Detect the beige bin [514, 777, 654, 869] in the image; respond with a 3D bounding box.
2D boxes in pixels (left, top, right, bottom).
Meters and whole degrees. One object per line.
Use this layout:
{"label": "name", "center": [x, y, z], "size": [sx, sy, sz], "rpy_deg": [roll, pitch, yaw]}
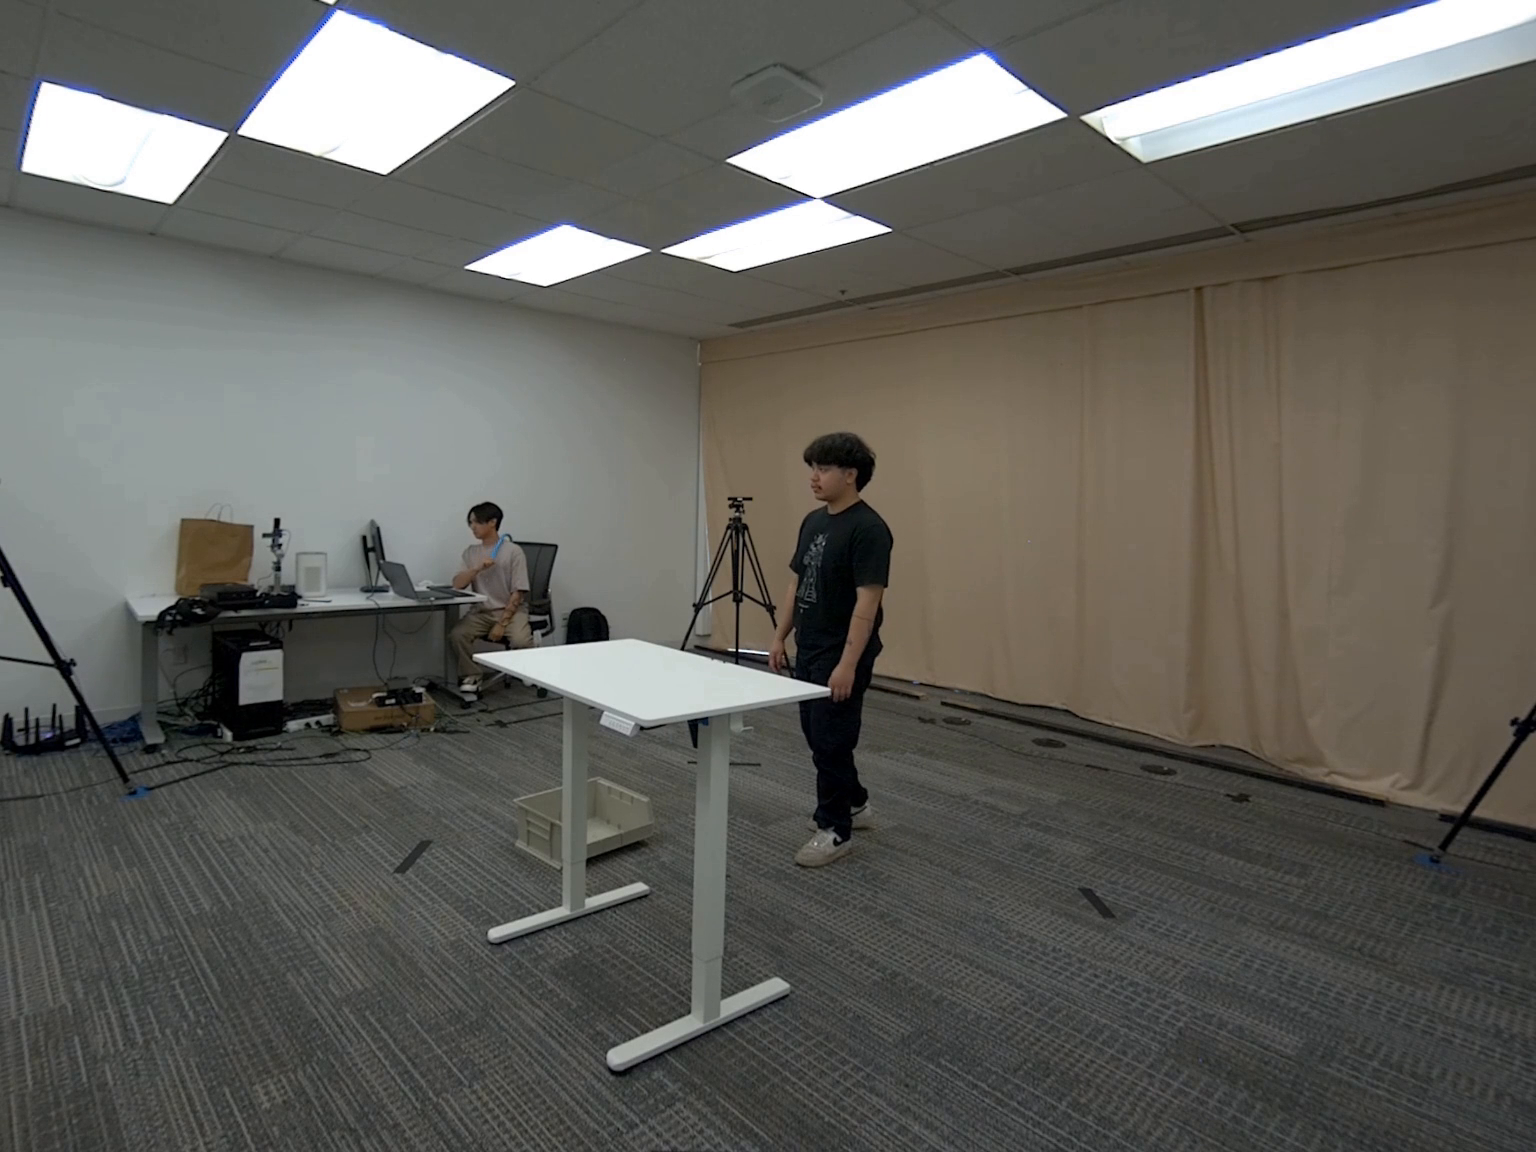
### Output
{"label": "beige bin", "center": [-0.743, 0.985, 3.356], "size": [0.387, 0.188, 0.413], "rpy_deg": [5, 7, 43]}
